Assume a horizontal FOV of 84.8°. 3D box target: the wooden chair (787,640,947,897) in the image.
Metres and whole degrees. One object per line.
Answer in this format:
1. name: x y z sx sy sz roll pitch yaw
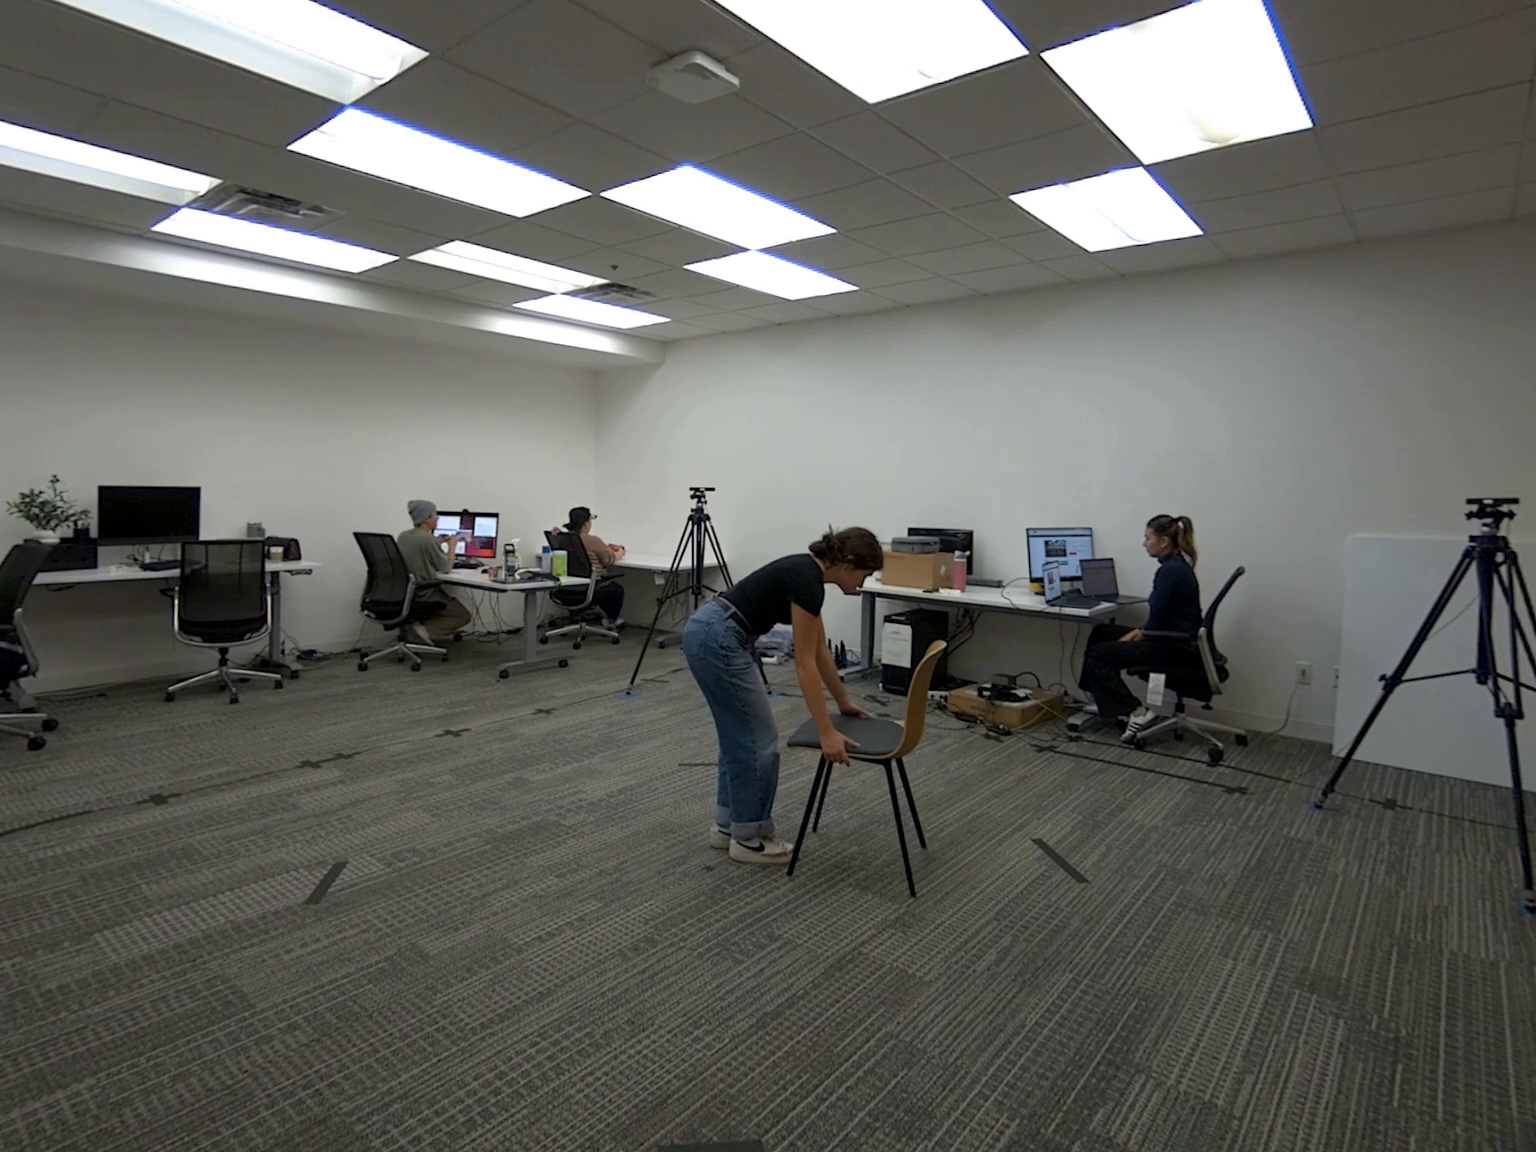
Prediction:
1. wooden chair: 0.342 0.647 3.172 0.534 0.874 0.470 7 5 17
